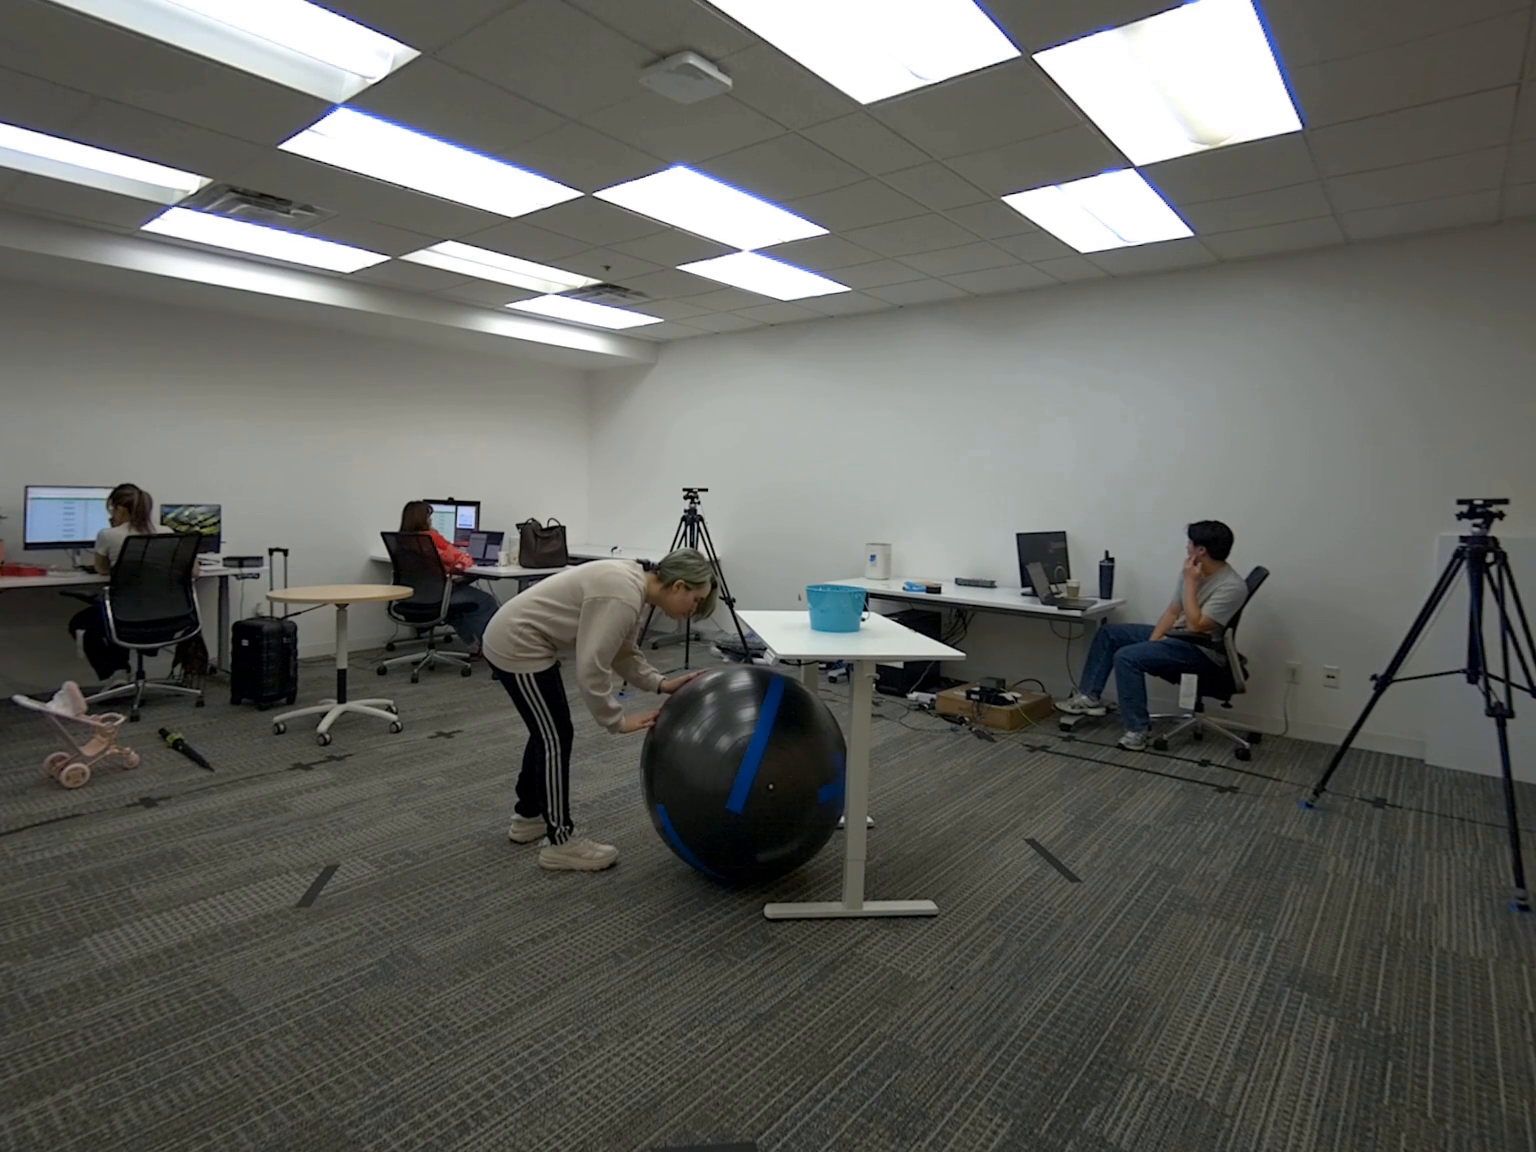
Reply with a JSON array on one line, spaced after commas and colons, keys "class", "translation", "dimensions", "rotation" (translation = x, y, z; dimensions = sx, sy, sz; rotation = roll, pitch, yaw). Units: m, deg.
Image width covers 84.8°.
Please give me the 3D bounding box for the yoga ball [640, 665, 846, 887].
[{"class": "yoga ball", "translation": [-0.093, 0.704, 3.091], "dimensions": [0.757, 0.755, 0.762], "rotation": [1, 4, -2]}]
